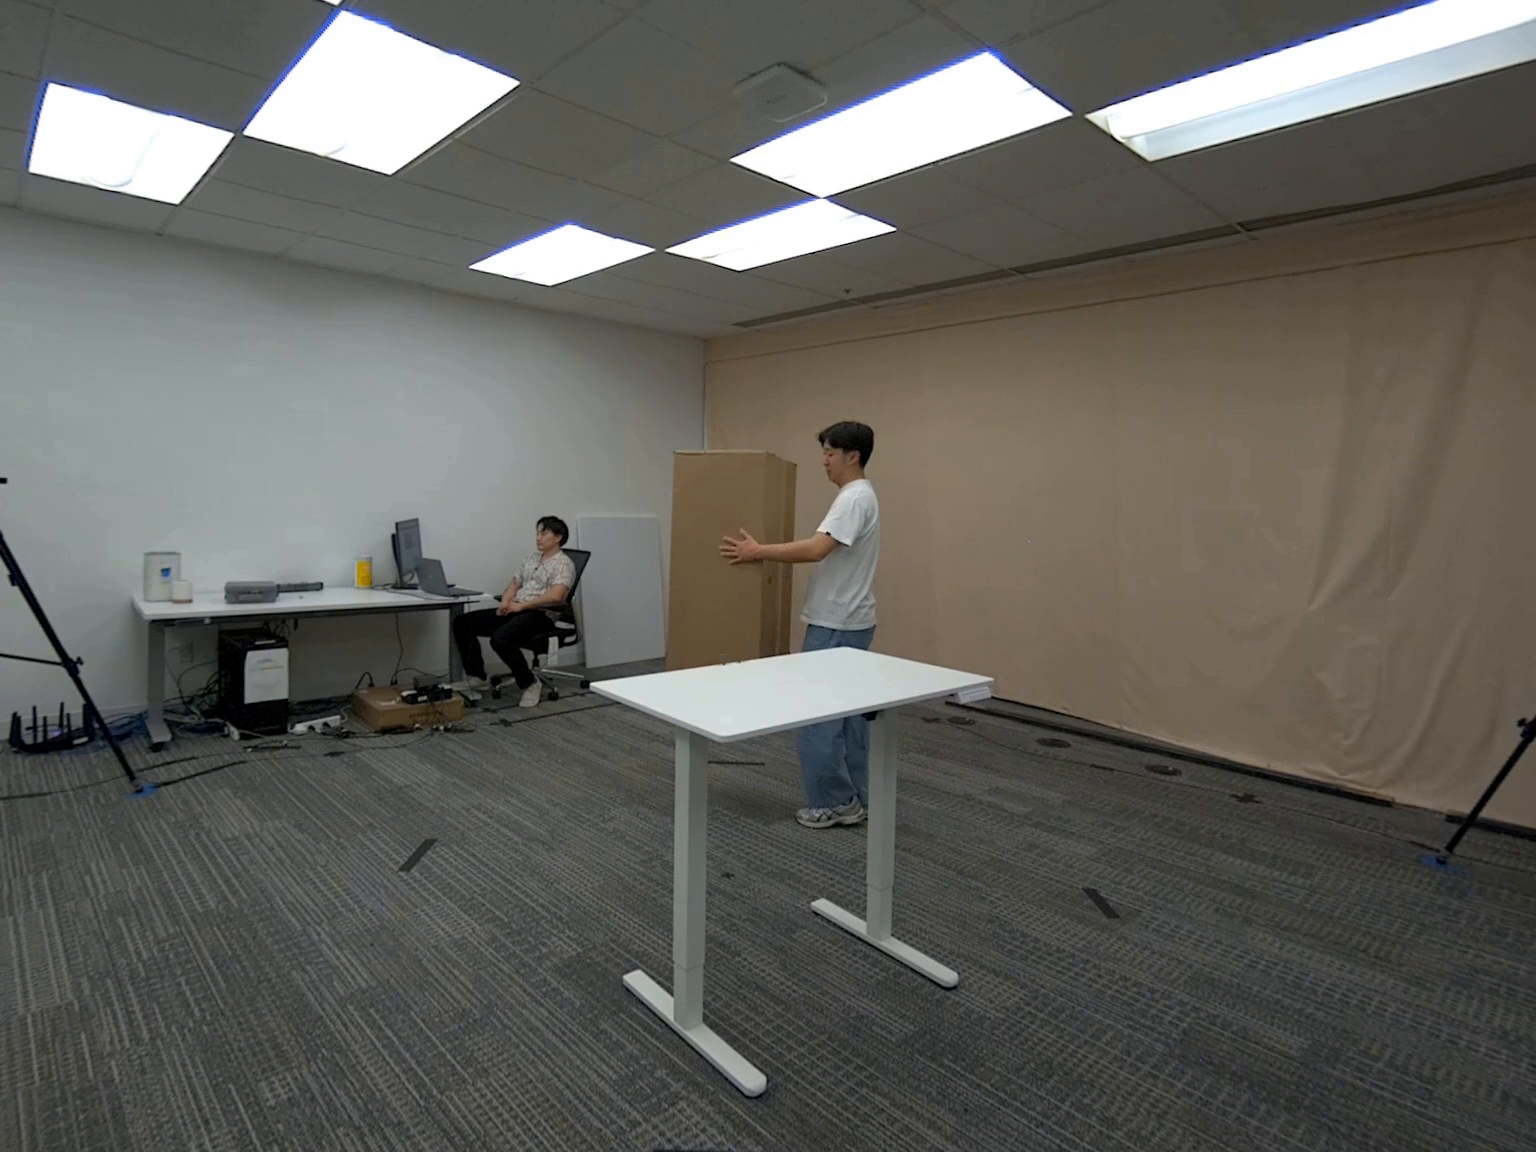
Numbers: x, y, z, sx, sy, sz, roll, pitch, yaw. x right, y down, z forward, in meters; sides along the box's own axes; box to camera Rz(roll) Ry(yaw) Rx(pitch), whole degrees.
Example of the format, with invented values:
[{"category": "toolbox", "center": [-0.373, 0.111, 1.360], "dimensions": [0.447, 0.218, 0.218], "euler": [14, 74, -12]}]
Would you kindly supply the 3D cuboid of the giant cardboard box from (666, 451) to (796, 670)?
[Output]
[{"category": "giant cardboard box", "center": [-0.165, -0.024, 3.855], "dimensions": [0.432, 1.026, 0.570], "euler": [2, 0, 16]}]
